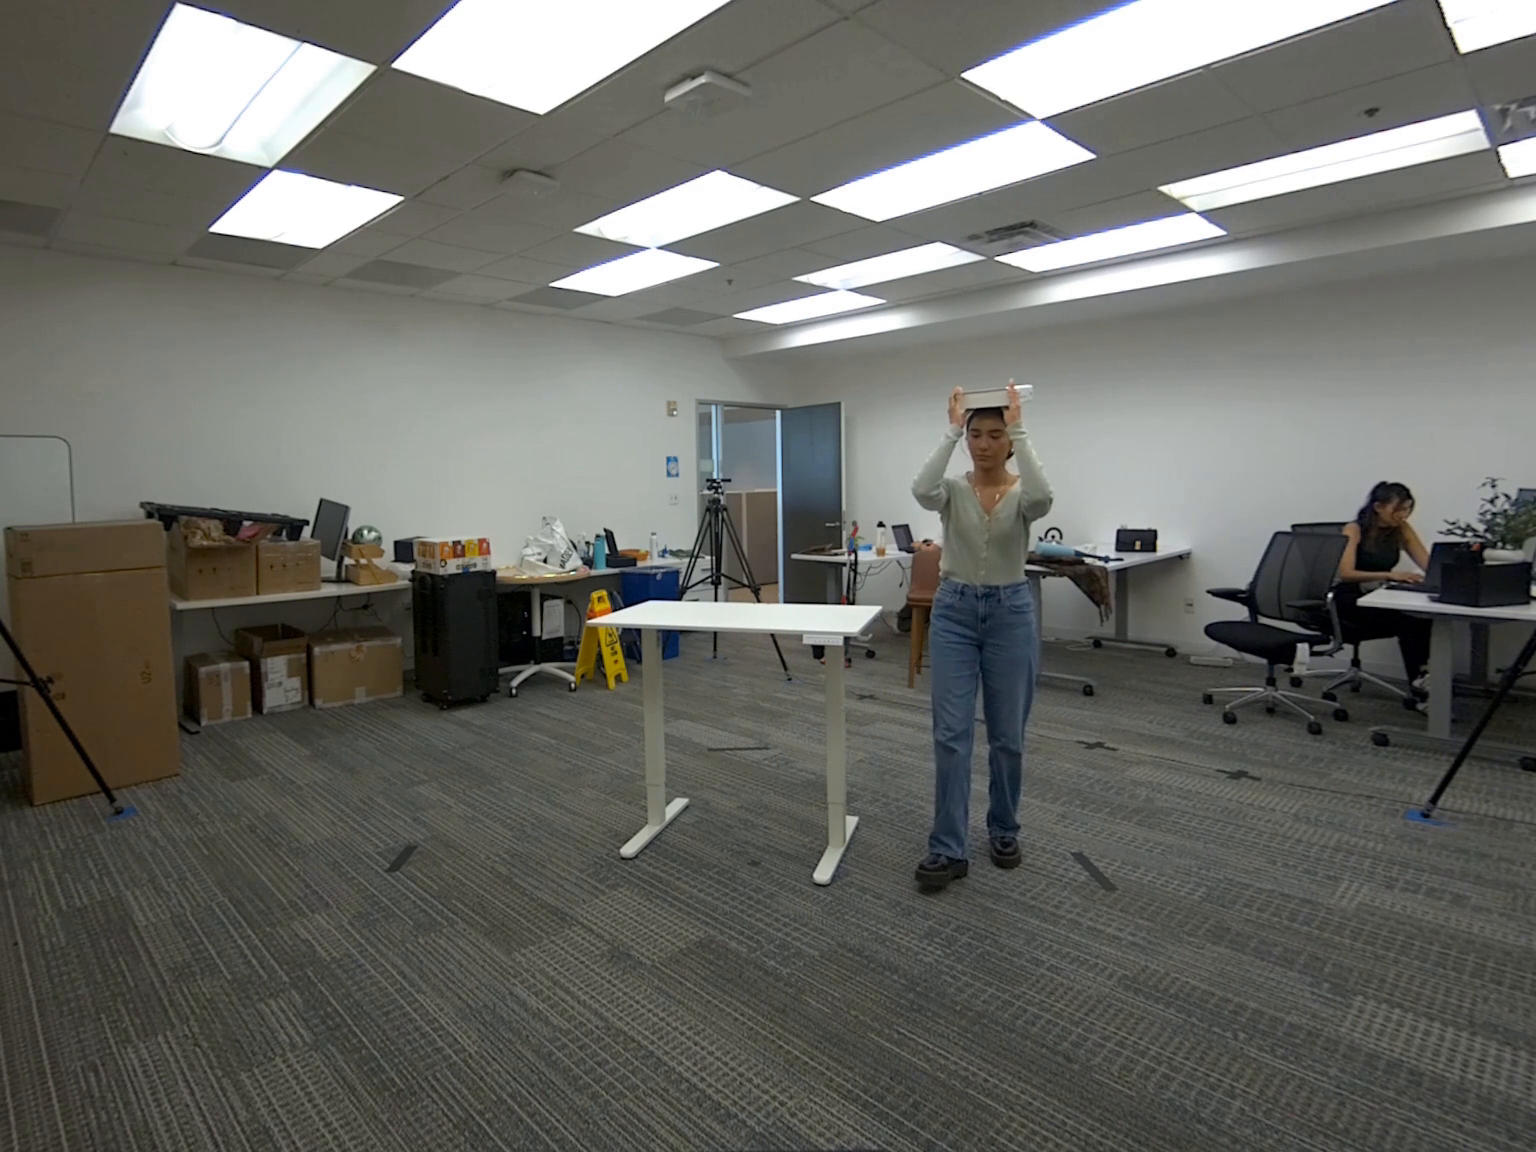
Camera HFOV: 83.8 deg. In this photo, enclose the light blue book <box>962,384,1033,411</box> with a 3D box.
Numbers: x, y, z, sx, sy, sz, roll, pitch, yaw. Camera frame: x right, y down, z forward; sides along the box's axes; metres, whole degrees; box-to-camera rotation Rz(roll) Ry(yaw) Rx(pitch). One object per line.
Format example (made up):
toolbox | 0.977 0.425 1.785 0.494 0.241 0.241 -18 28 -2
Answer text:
light blue book | 0.798 -0.626 2.973 0.197 0.058 0.256 3 14 34
